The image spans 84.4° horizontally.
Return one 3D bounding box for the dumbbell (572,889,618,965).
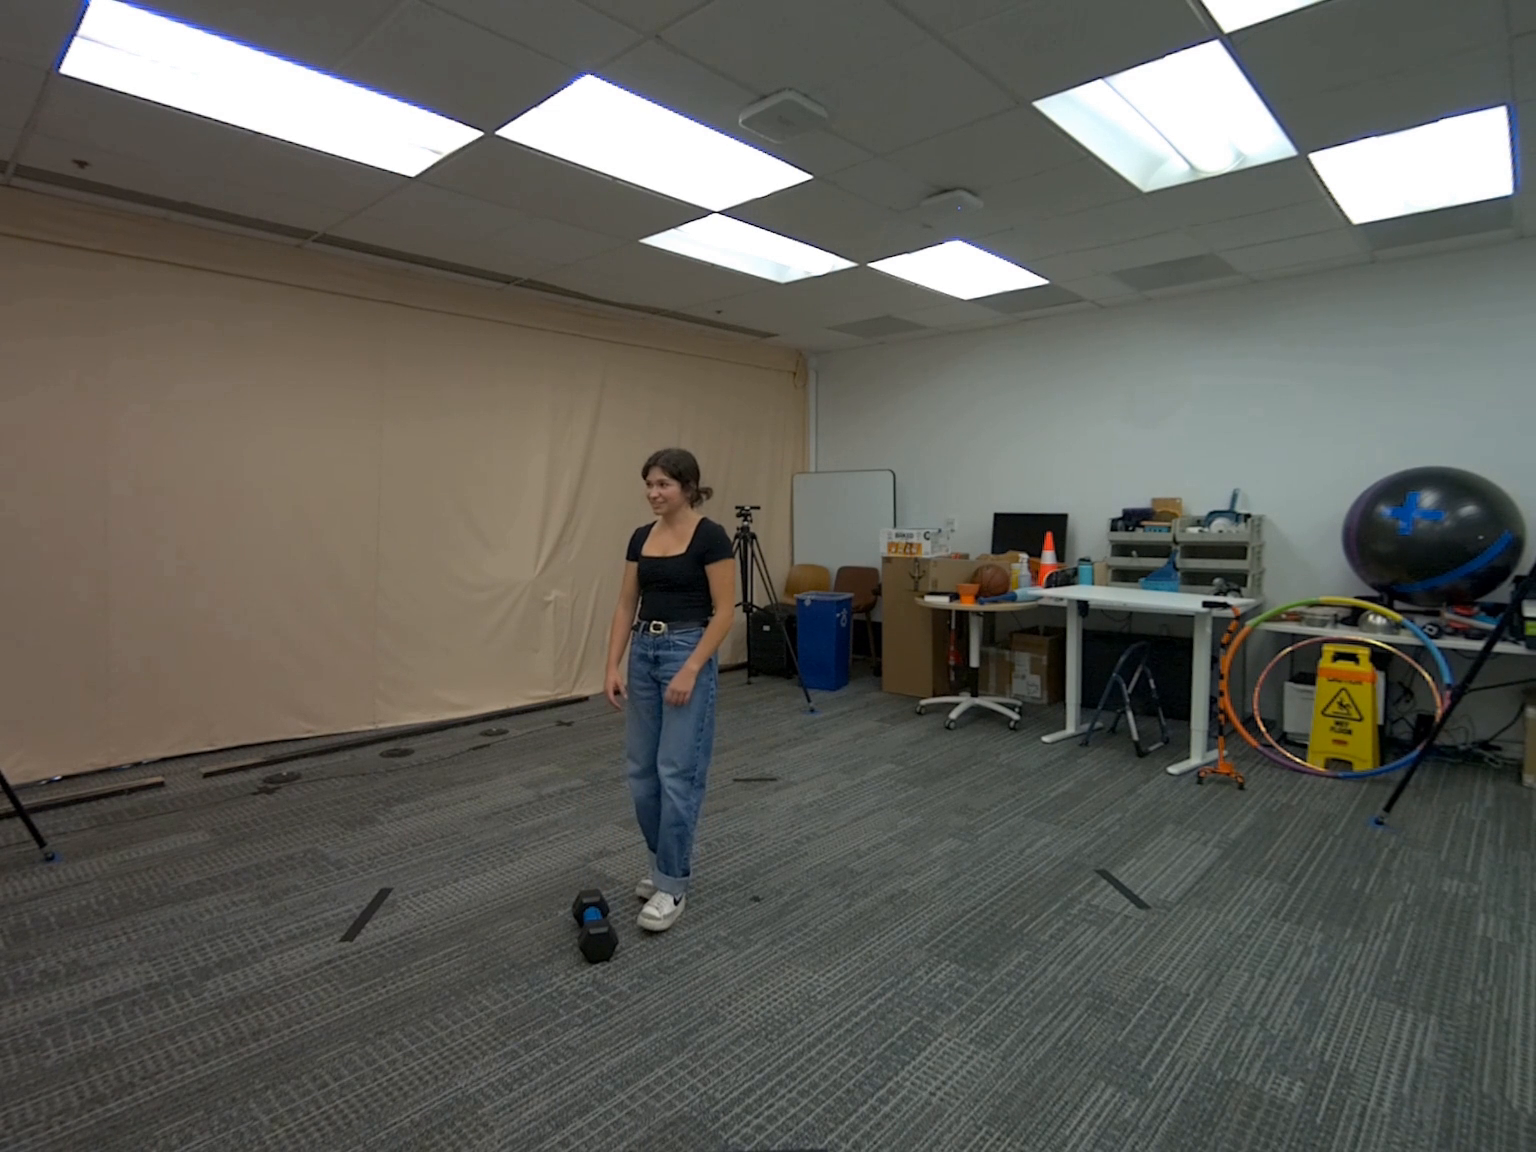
[{"bbox_3d":[-0.560,1.121,2.695,0.108,0.121,0.299,-32,13,-12],"label":"dumbbell"}]
